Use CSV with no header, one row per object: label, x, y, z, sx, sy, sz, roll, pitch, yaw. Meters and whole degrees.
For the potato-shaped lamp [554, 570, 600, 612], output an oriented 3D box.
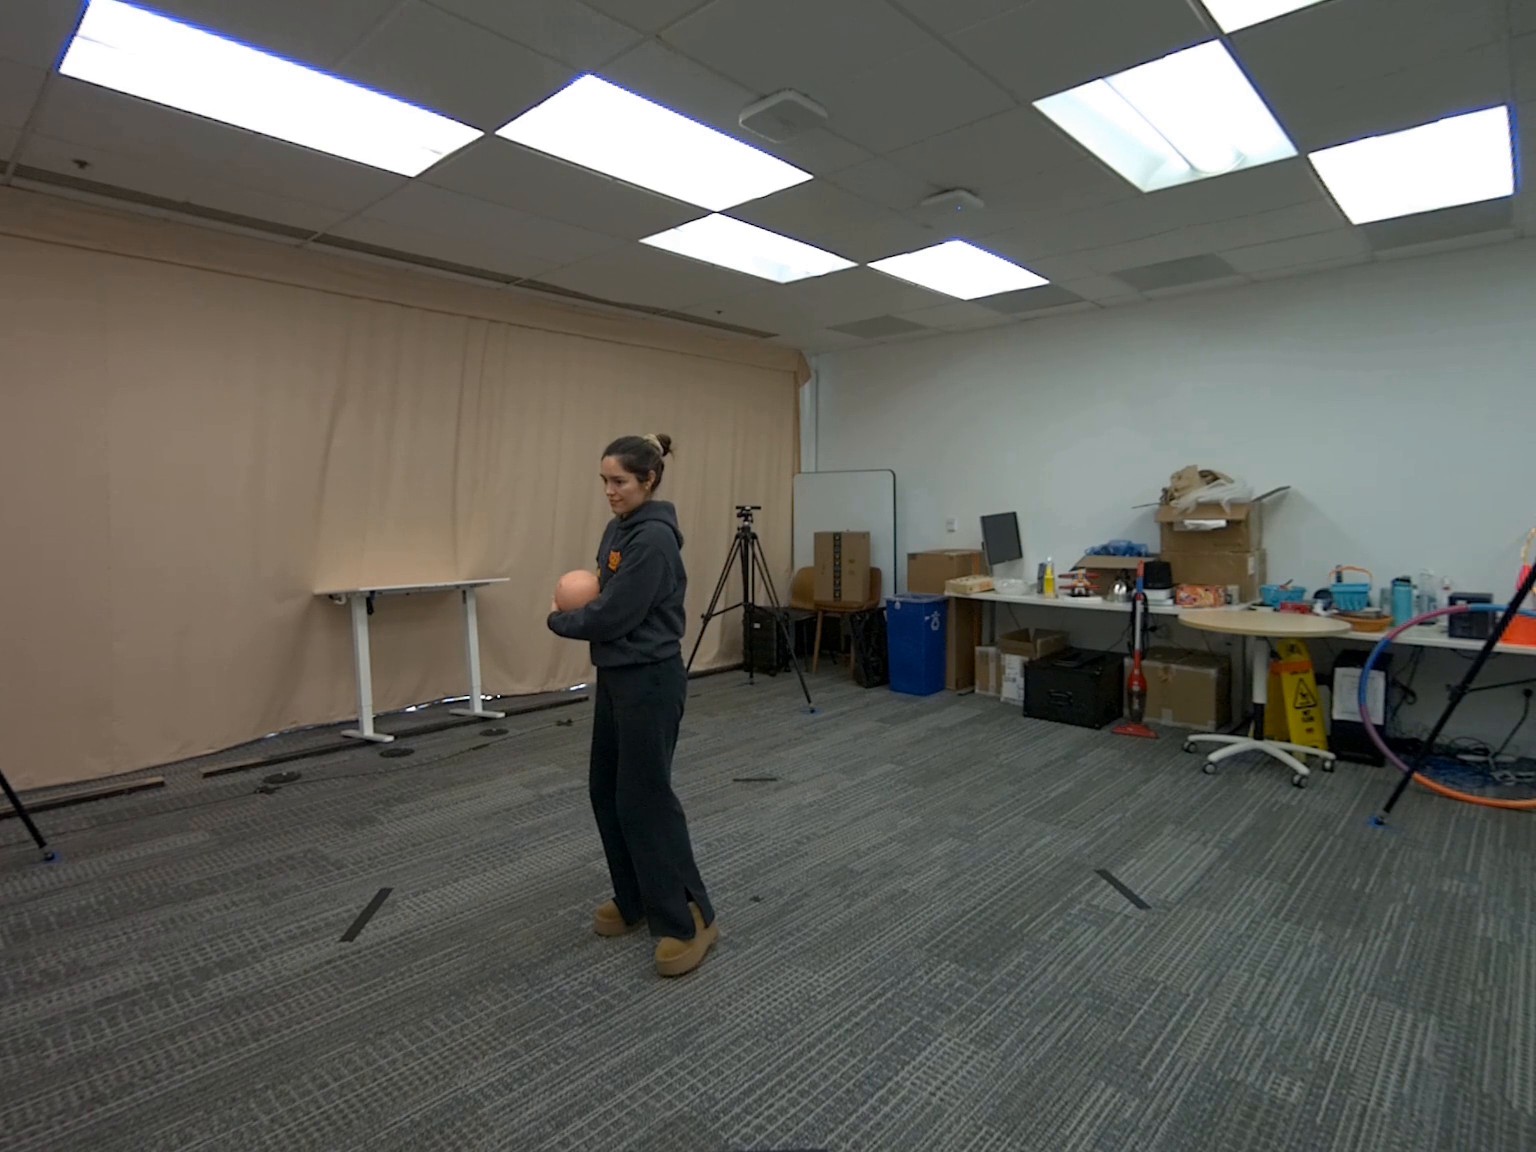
potato-shaped lamp,-0.614,0.073,2.794,0.162,0.171,0.201,-5,0,-17
